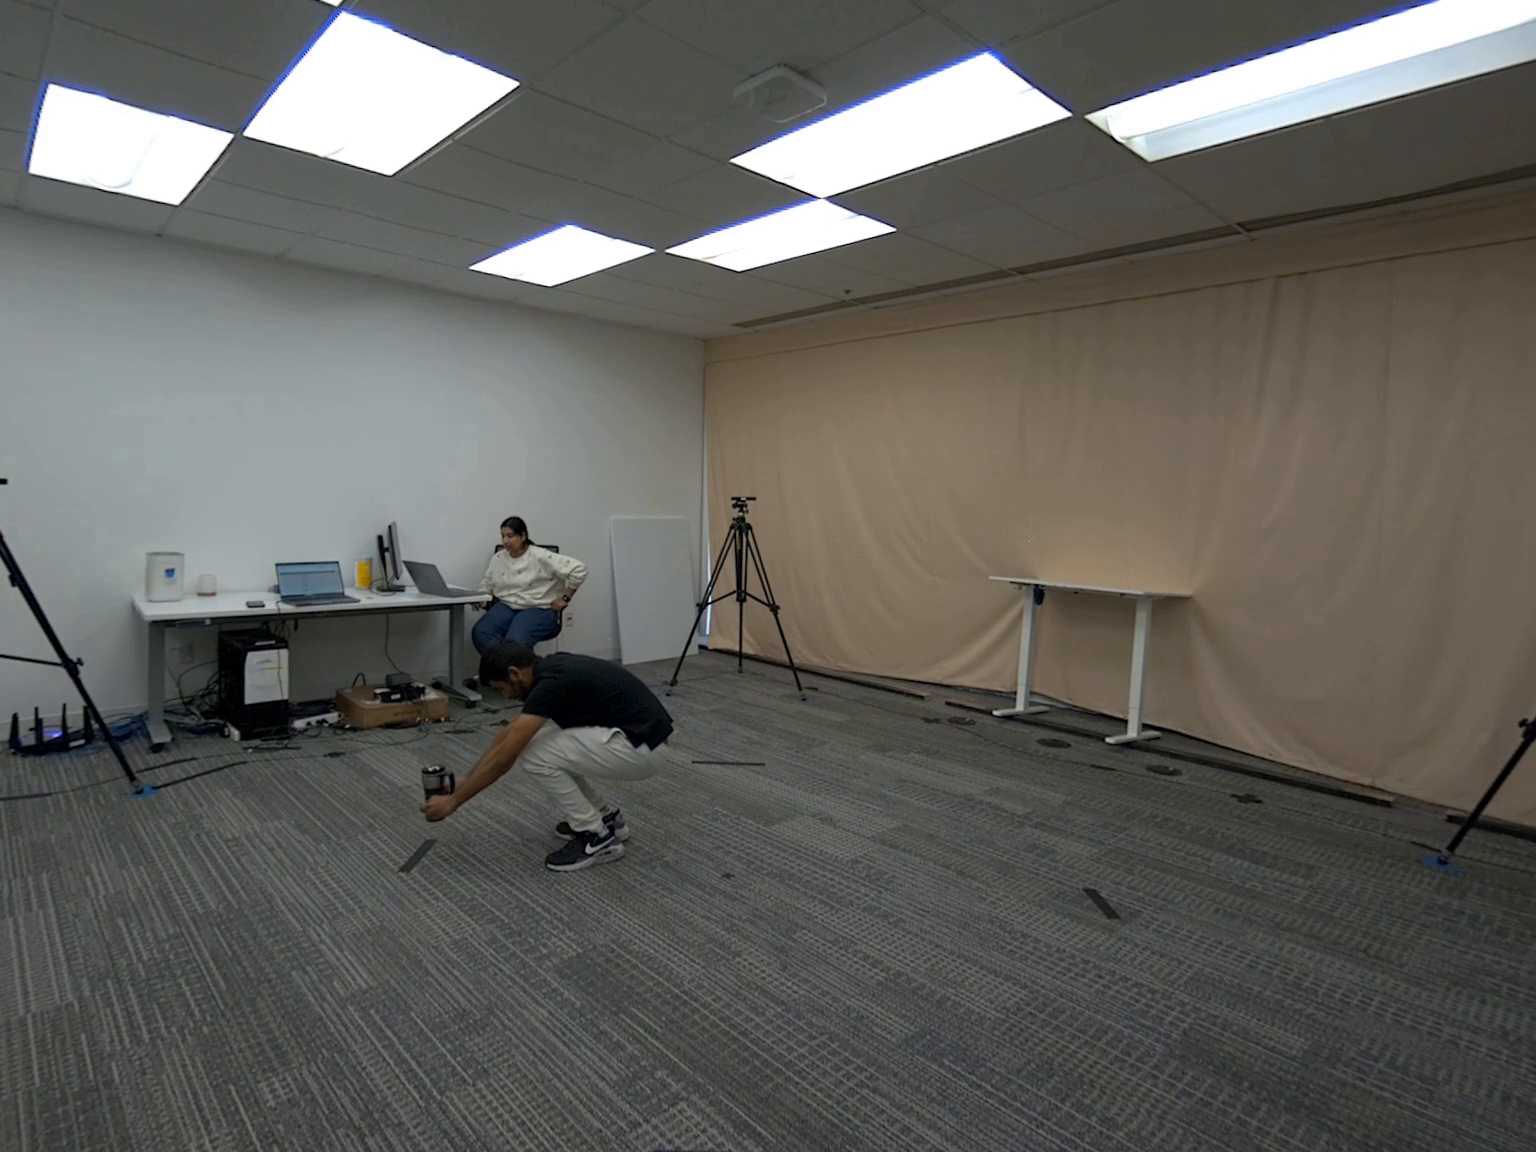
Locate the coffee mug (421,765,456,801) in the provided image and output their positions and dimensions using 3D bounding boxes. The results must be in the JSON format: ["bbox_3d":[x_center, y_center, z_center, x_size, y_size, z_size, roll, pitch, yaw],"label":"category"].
[{"bbox_3d":[-1.252,0.825,3.184,0.125,0.203,0.086,-1,0,43],"label":"coffee mug"}]
